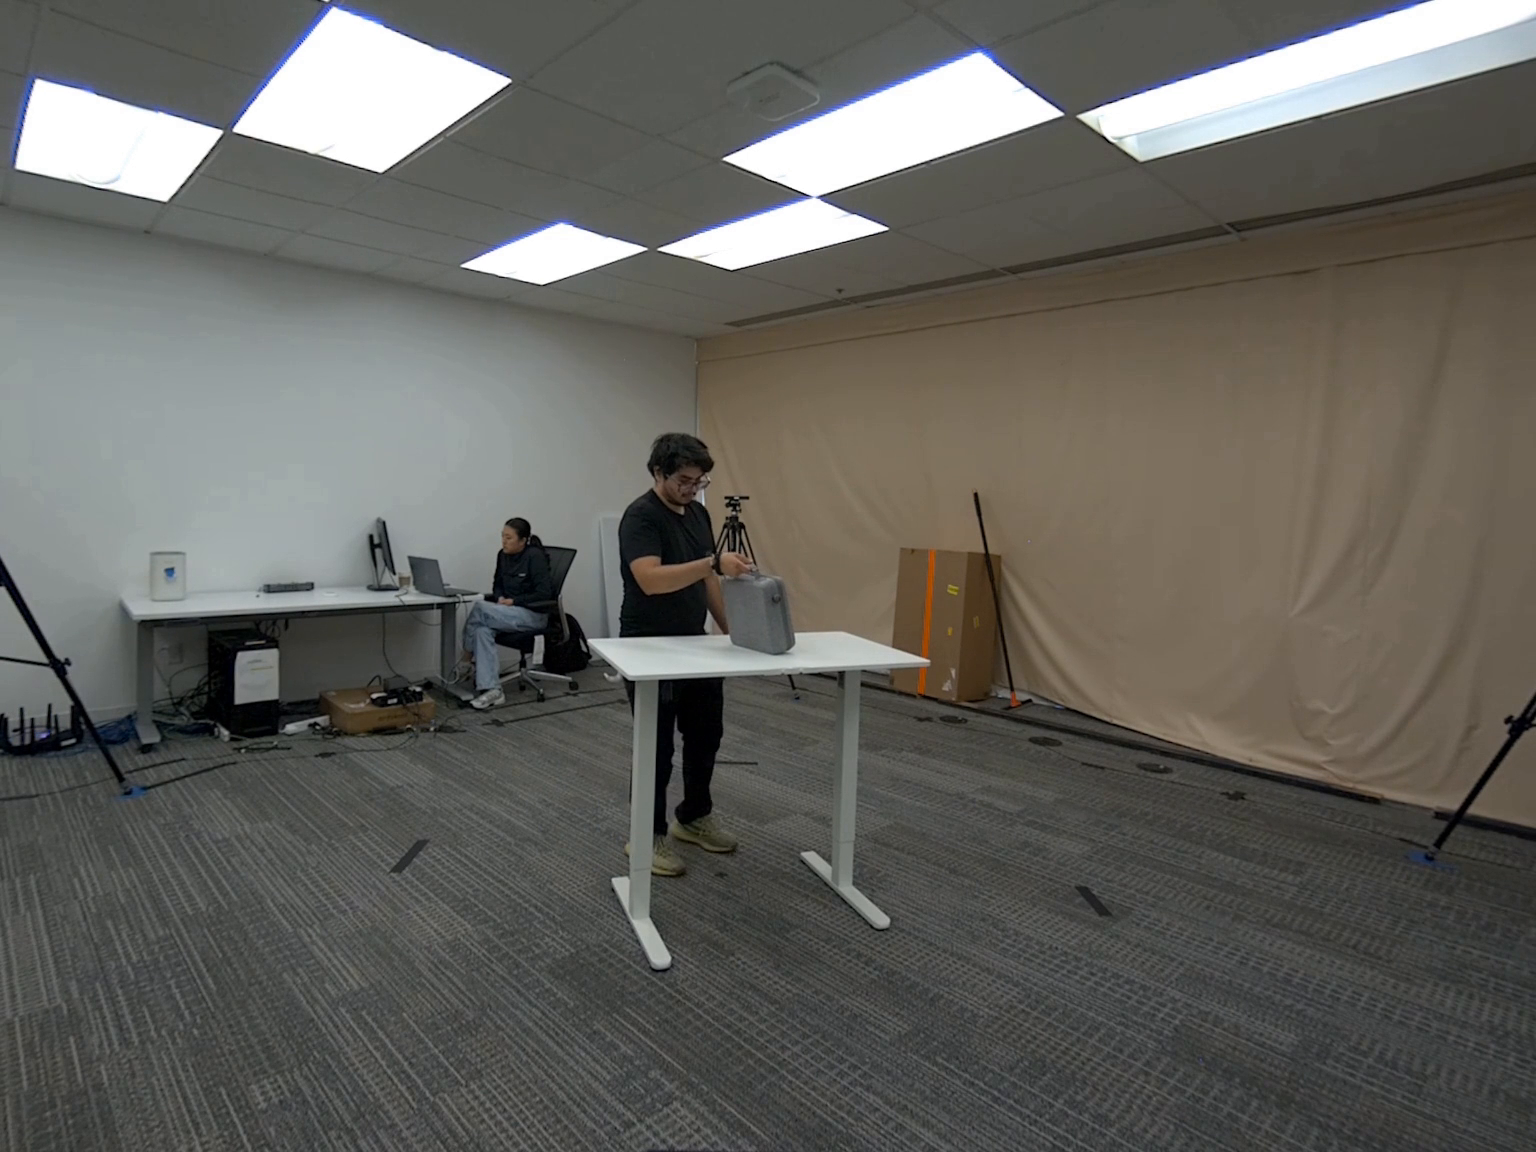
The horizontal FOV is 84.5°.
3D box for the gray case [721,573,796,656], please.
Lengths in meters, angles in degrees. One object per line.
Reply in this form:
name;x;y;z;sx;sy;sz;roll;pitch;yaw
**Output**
gray case;-0.038;0.121;2.818;0.103;0.258;0.263;-16;14;-33
